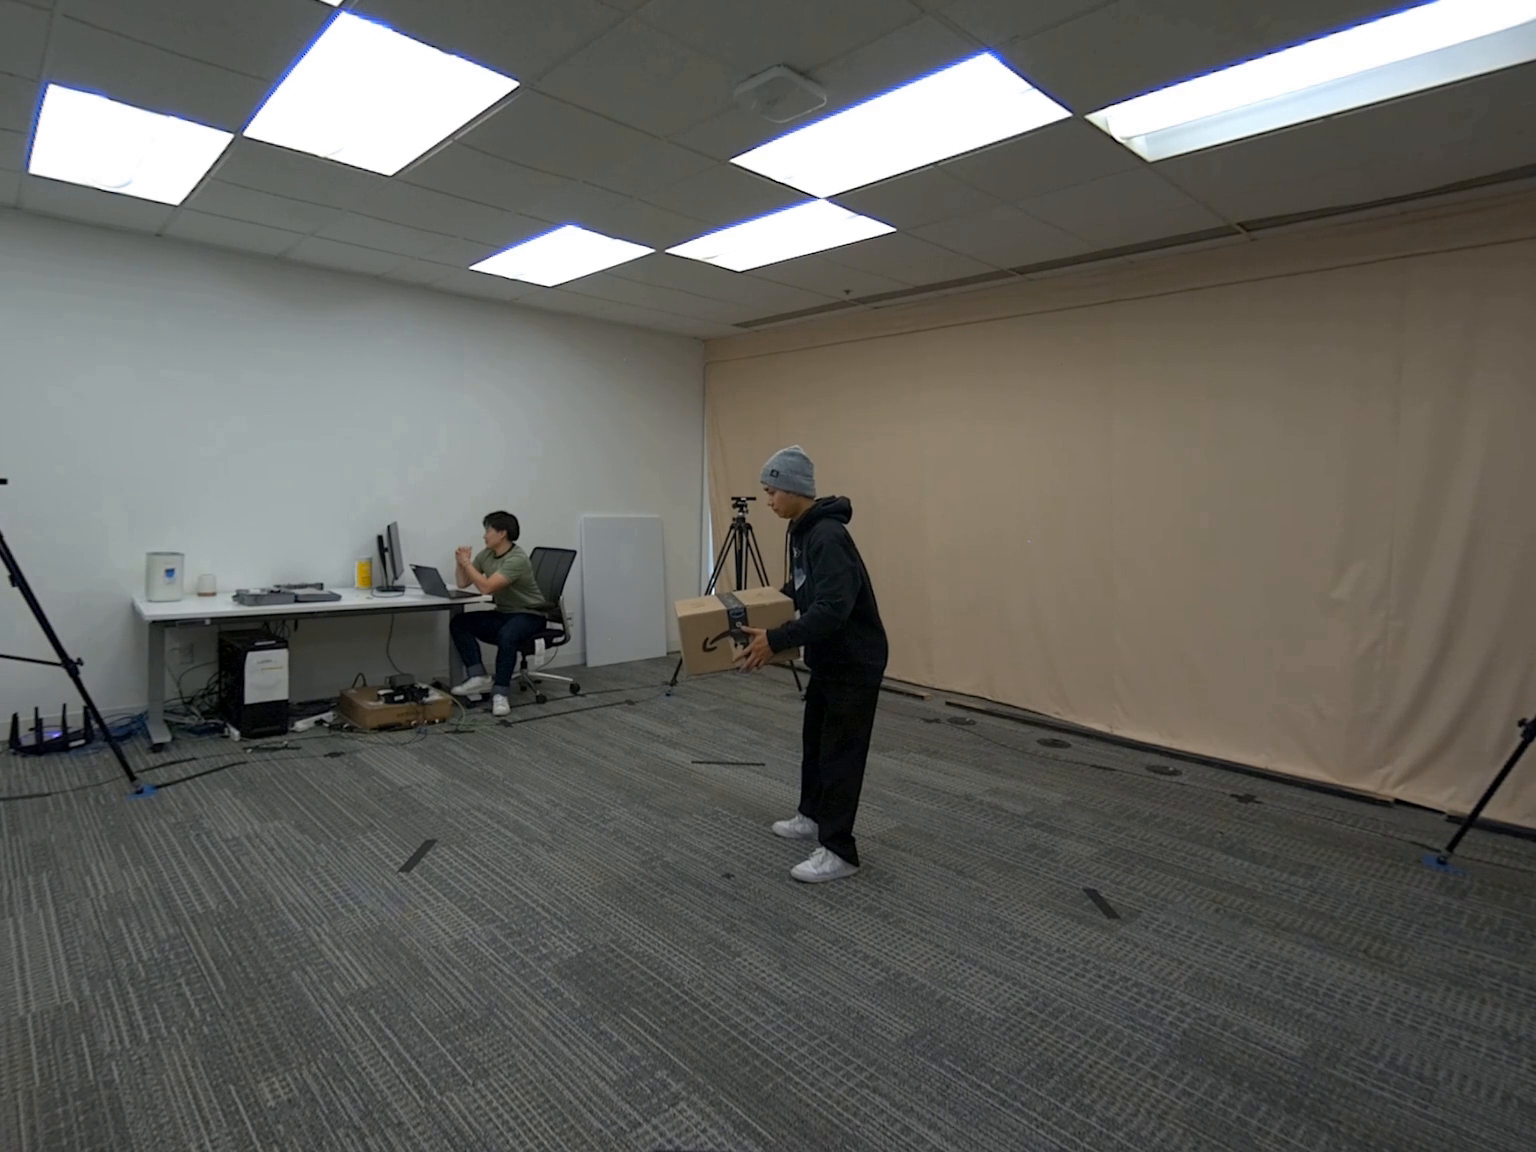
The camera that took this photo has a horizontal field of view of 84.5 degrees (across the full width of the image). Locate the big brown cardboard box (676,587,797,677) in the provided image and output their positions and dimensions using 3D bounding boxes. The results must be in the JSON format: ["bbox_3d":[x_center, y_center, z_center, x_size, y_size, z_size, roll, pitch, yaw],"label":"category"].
[{"bbox_3d":[-0.136,0.201,3.251,0.416,0.232,0.592,-9,4,-5],"label":"big brown cardboard box"}]
